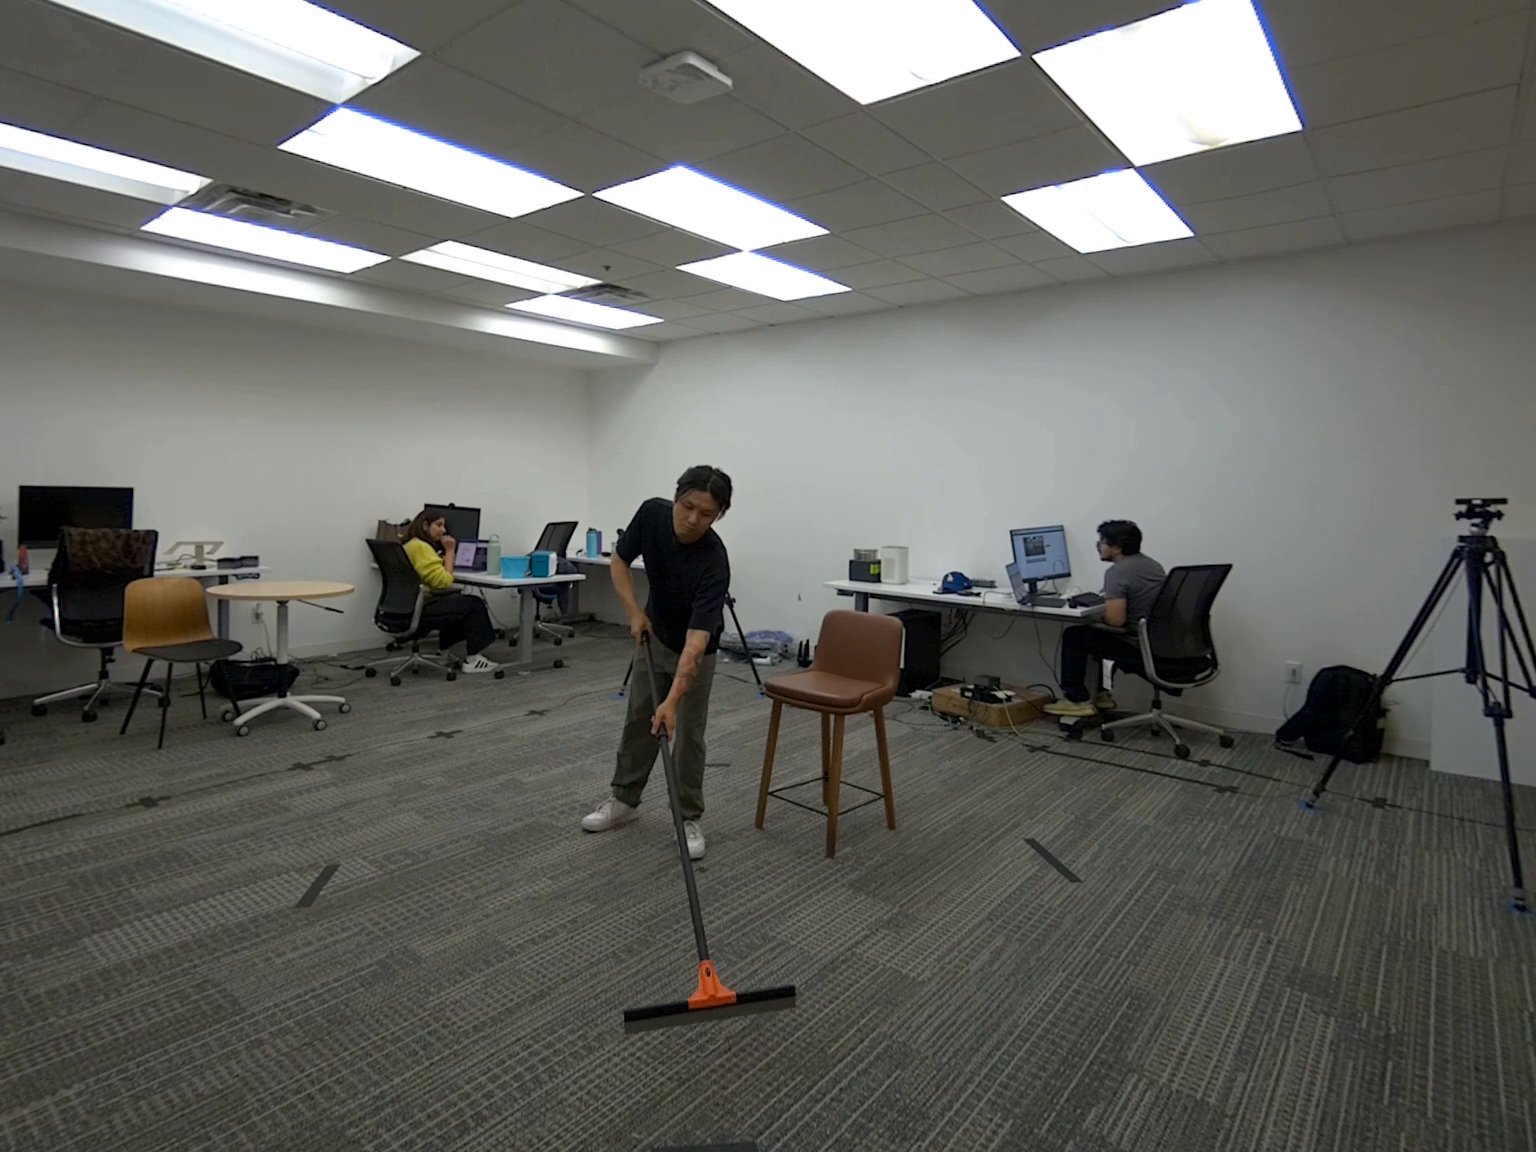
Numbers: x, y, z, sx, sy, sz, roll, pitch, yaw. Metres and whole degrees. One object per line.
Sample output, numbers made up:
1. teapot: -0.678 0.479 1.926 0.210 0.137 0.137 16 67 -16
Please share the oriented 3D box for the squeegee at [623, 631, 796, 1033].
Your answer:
1. squeegee: -0.267 0.605 2.694 0.432 0.051 1.594 -4 38 -12
